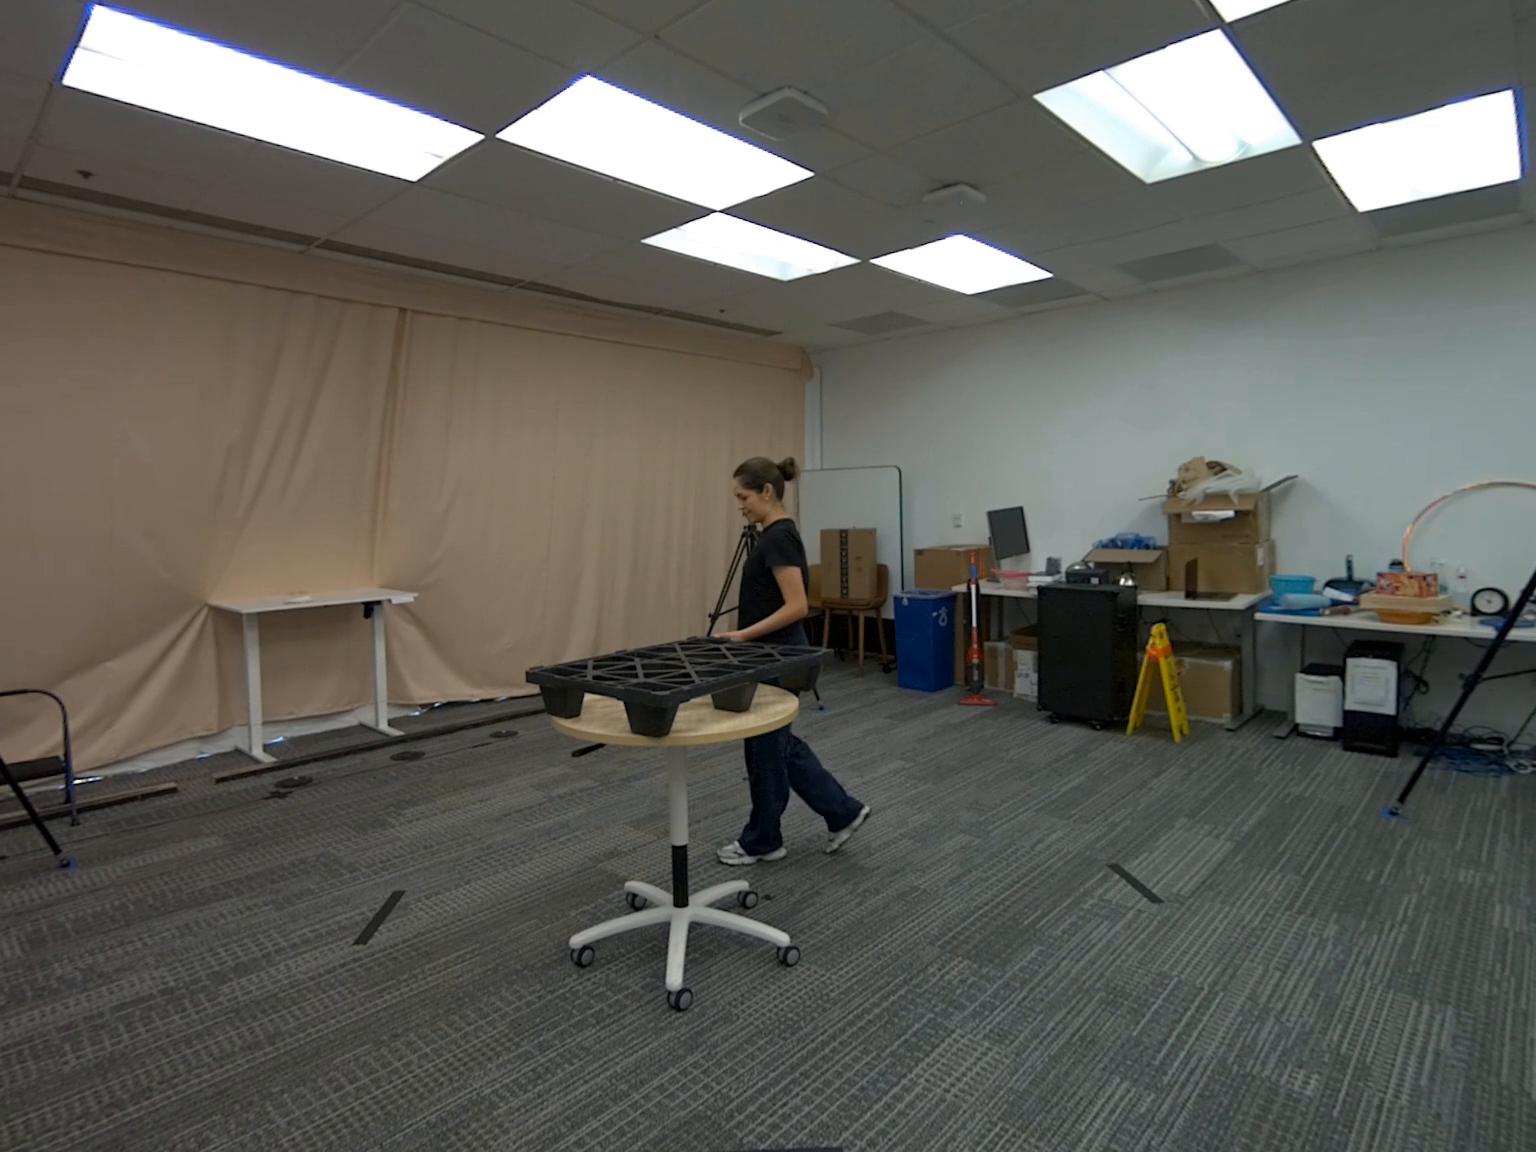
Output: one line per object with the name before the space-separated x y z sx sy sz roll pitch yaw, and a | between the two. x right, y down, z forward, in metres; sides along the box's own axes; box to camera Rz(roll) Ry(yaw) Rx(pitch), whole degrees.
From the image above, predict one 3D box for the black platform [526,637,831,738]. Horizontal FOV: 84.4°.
black platform | -0.248 0.330 2.637 0.625 0.143 0.782 2 5 39
